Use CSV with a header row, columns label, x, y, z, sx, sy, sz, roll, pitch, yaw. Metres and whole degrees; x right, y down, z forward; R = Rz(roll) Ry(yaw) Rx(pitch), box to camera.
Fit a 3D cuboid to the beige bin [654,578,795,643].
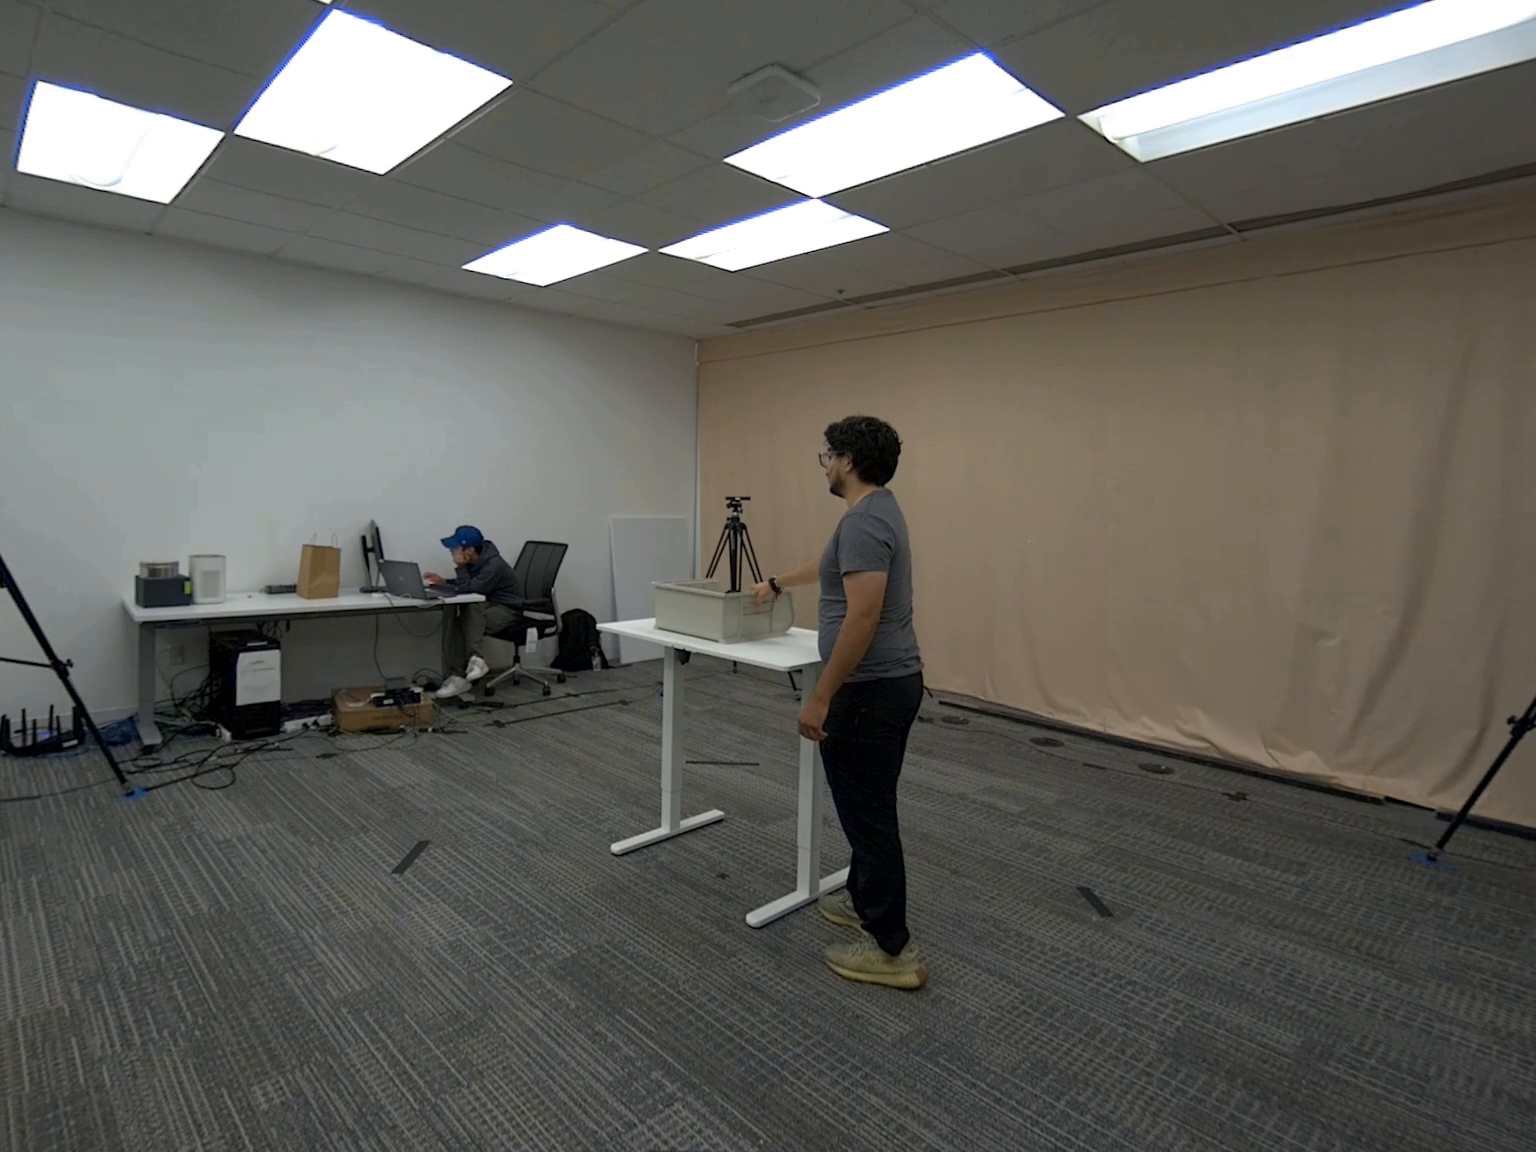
label,x,y,z,sx,sy,sz,roll,pitch,yaw
beige bin,-0.174,0.124,3.202,0.369,0.188,0.433,-6,9,-43
